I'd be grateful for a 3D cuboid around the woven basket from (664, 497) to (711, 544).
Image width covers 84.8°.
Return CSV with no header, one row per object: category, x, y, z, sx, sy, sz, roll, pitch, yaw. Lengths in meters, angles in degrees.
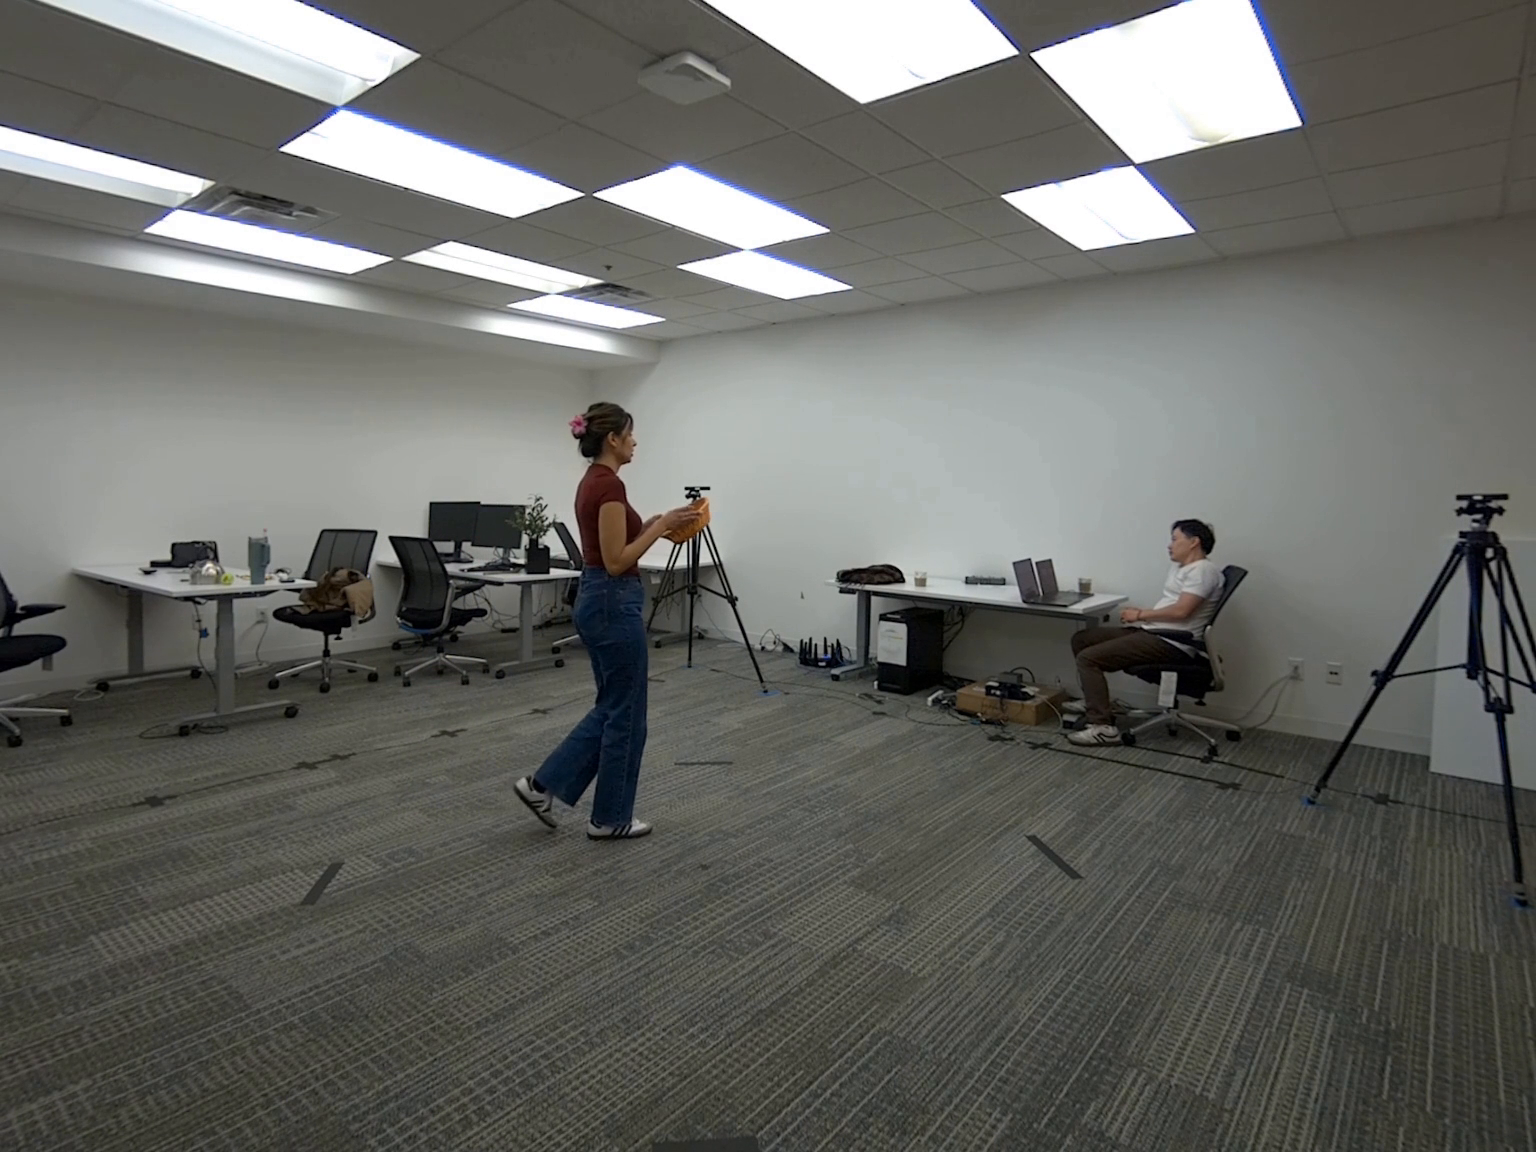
woven basket,-0.348,-0.212,3.466,0.252,0.072,0.356,-37,14,-1
